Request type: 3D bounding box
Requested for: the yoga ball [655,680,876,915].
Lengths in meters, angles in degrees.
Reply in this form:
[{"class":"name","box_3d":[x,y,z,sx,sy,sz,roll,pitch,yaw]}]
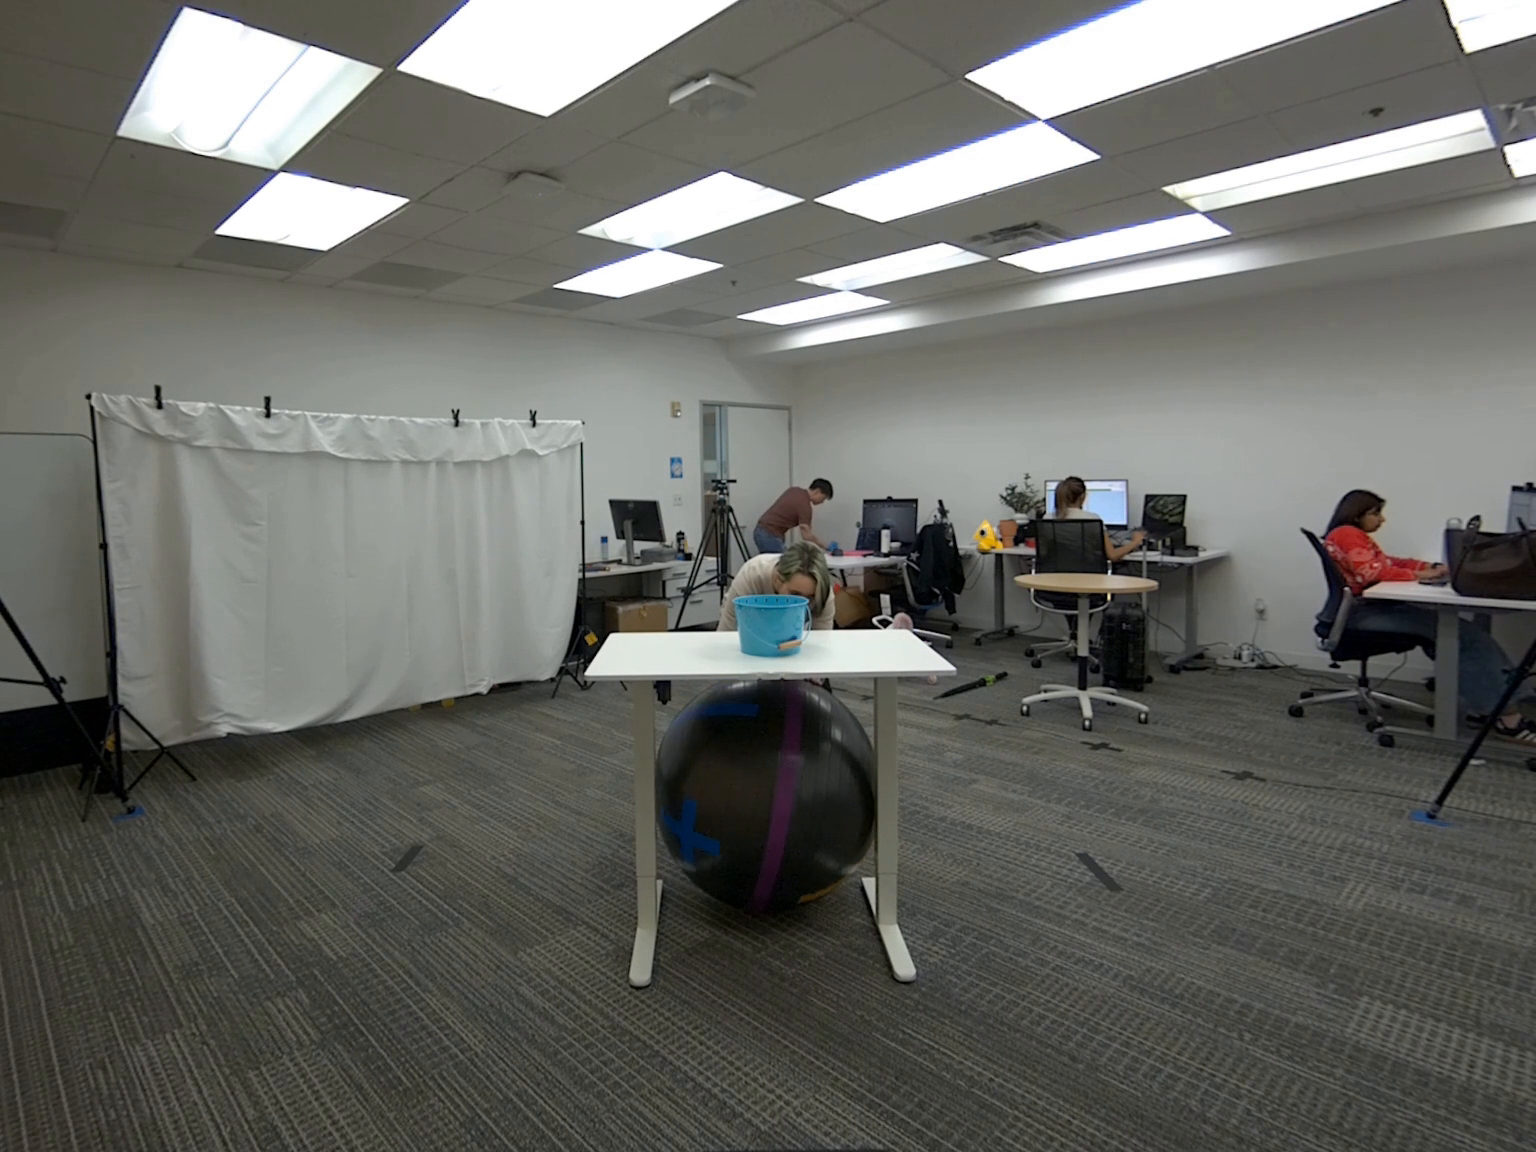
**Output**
[{"class":"yoga ball","box_3d":[-0.009,0.704,2.846,0.757,0.755,0.762,-1,5,-2]}]
